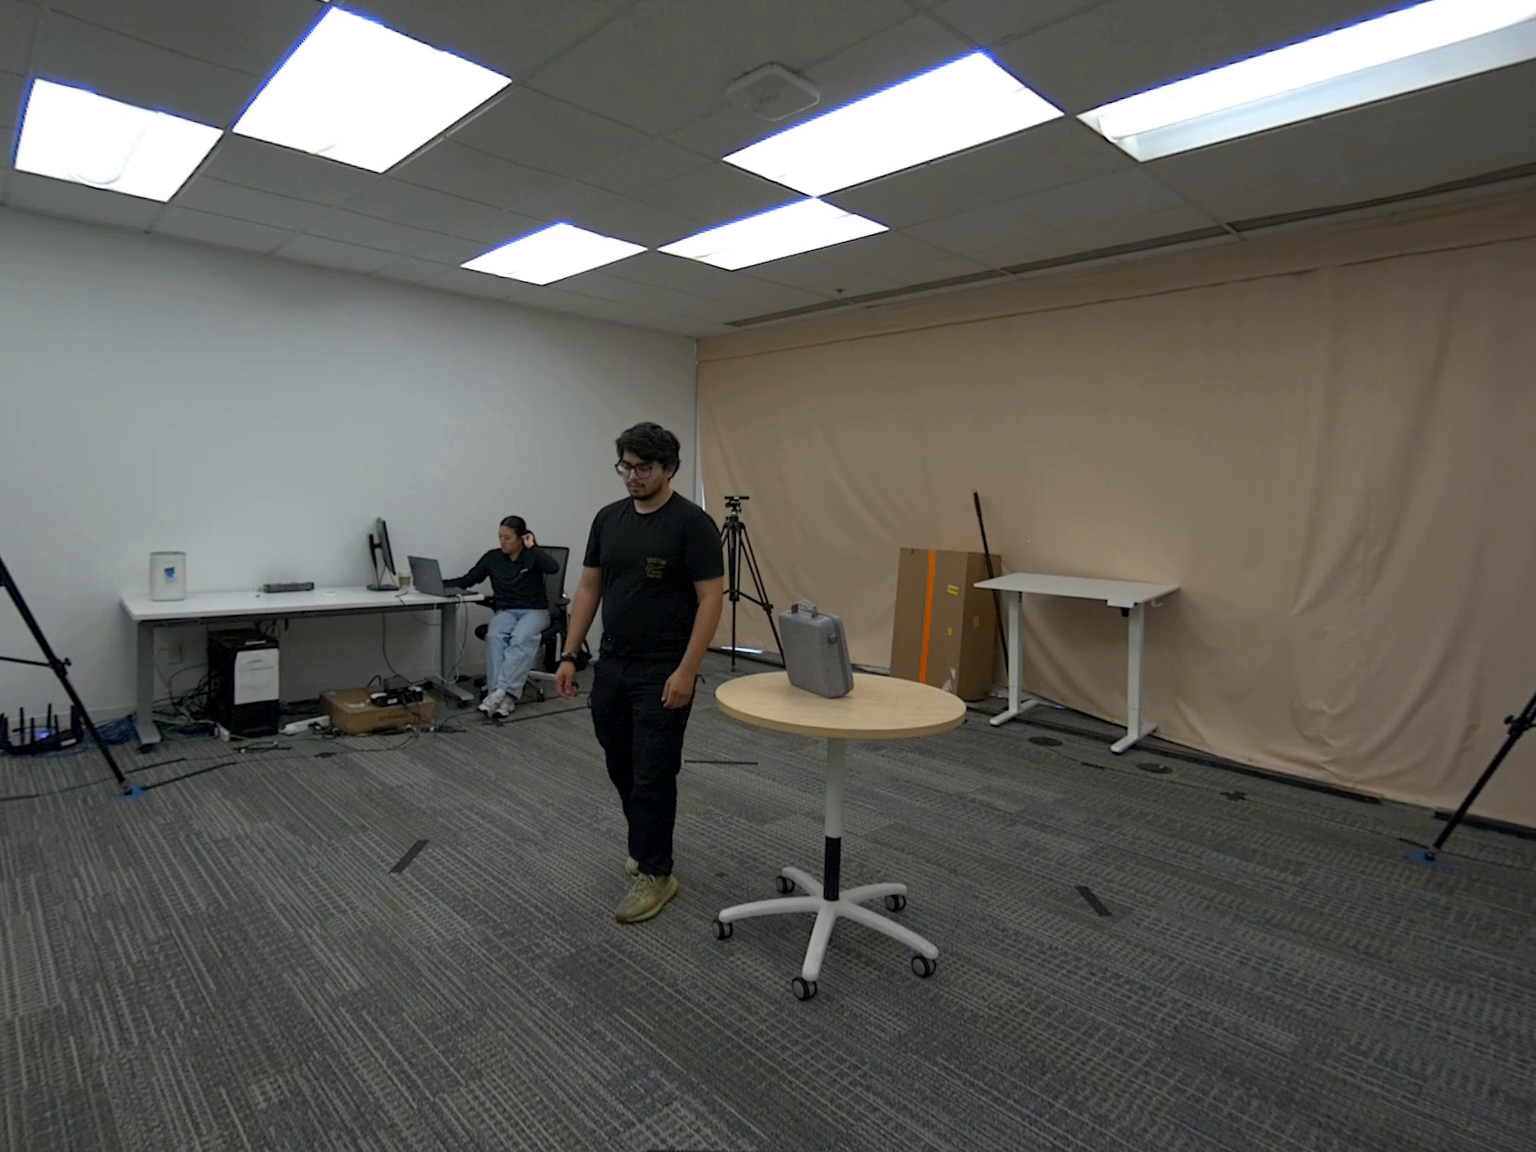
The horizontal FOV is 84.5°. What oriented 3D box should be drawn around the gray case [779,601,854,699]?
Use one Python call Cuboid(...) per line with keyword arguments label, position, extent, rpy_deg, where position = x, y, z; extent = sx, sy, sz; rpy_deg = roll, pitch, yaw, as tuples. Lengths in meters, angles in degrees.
Cuboid(label="gray case", position=(0.146, 0.237, 2.664), extent=(0.103, 0.259, 0.262), rpy_deg=(-13, 10, -26))
